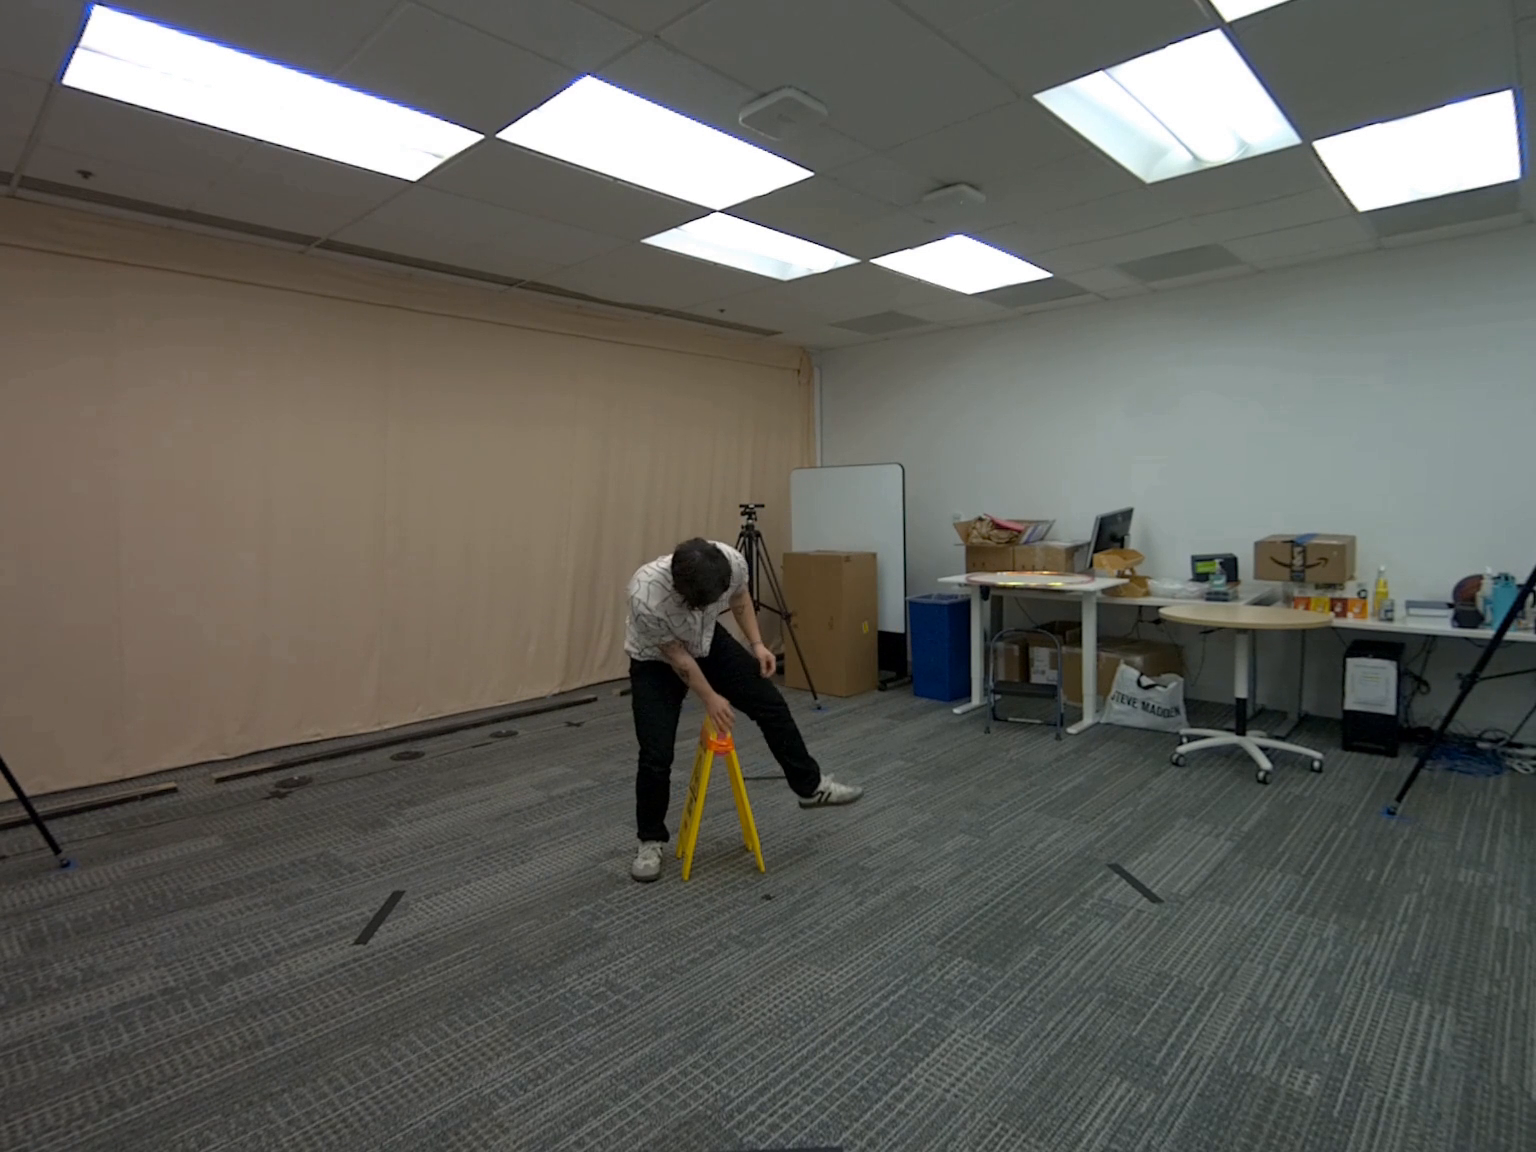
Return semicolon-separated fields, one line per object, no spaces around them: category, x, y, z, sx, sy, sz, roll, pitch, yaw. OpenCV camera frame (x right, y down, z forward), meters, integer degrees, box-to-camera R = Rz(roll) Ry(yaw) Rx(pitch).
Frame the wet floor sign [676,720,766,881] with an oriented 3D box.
wet floor sign;-0.193;0.793;3.266;0.287;0.645;0.285;-2;2;-10
